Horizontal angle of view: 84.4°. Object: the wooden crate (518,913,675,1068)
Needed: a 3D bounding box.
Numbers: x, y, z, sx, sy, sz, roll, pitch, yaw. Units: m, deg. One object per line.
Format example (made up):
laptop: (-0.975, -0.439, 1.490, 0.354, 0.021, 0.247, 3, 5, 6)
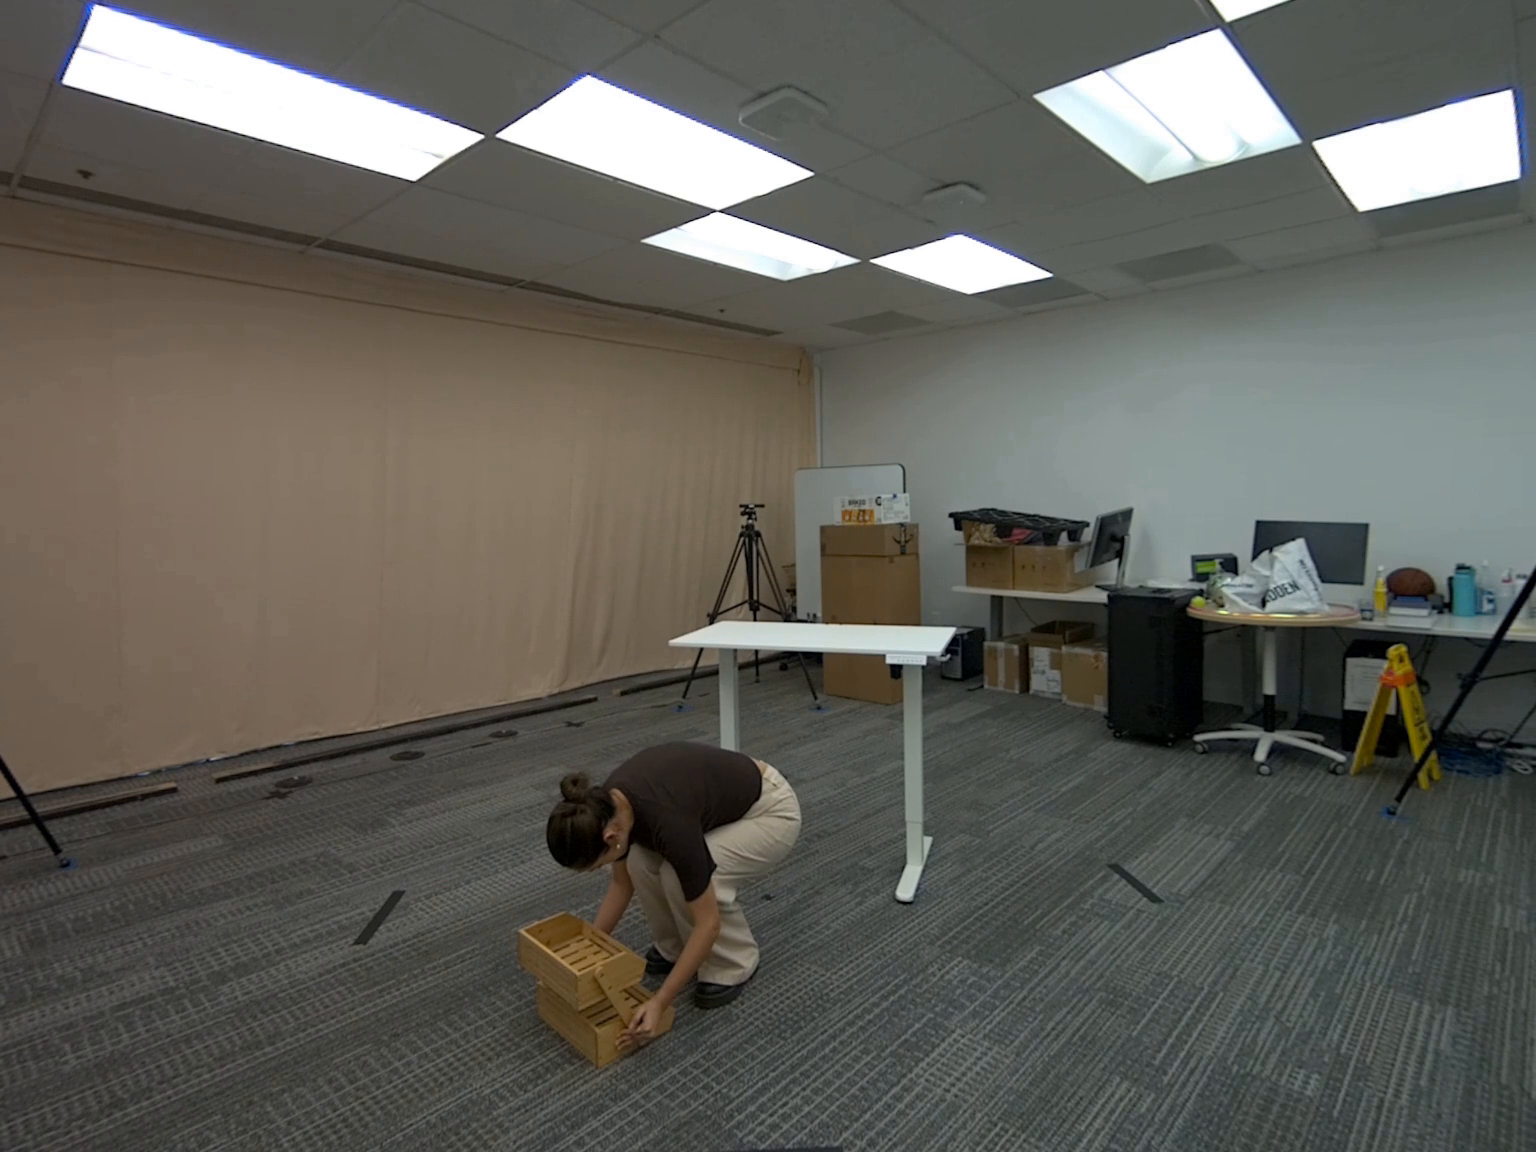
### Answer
wooden crate: (-0.462, 1.079, 2.255, 0.293, 0.272, 0.335, -6, 6, -42)
